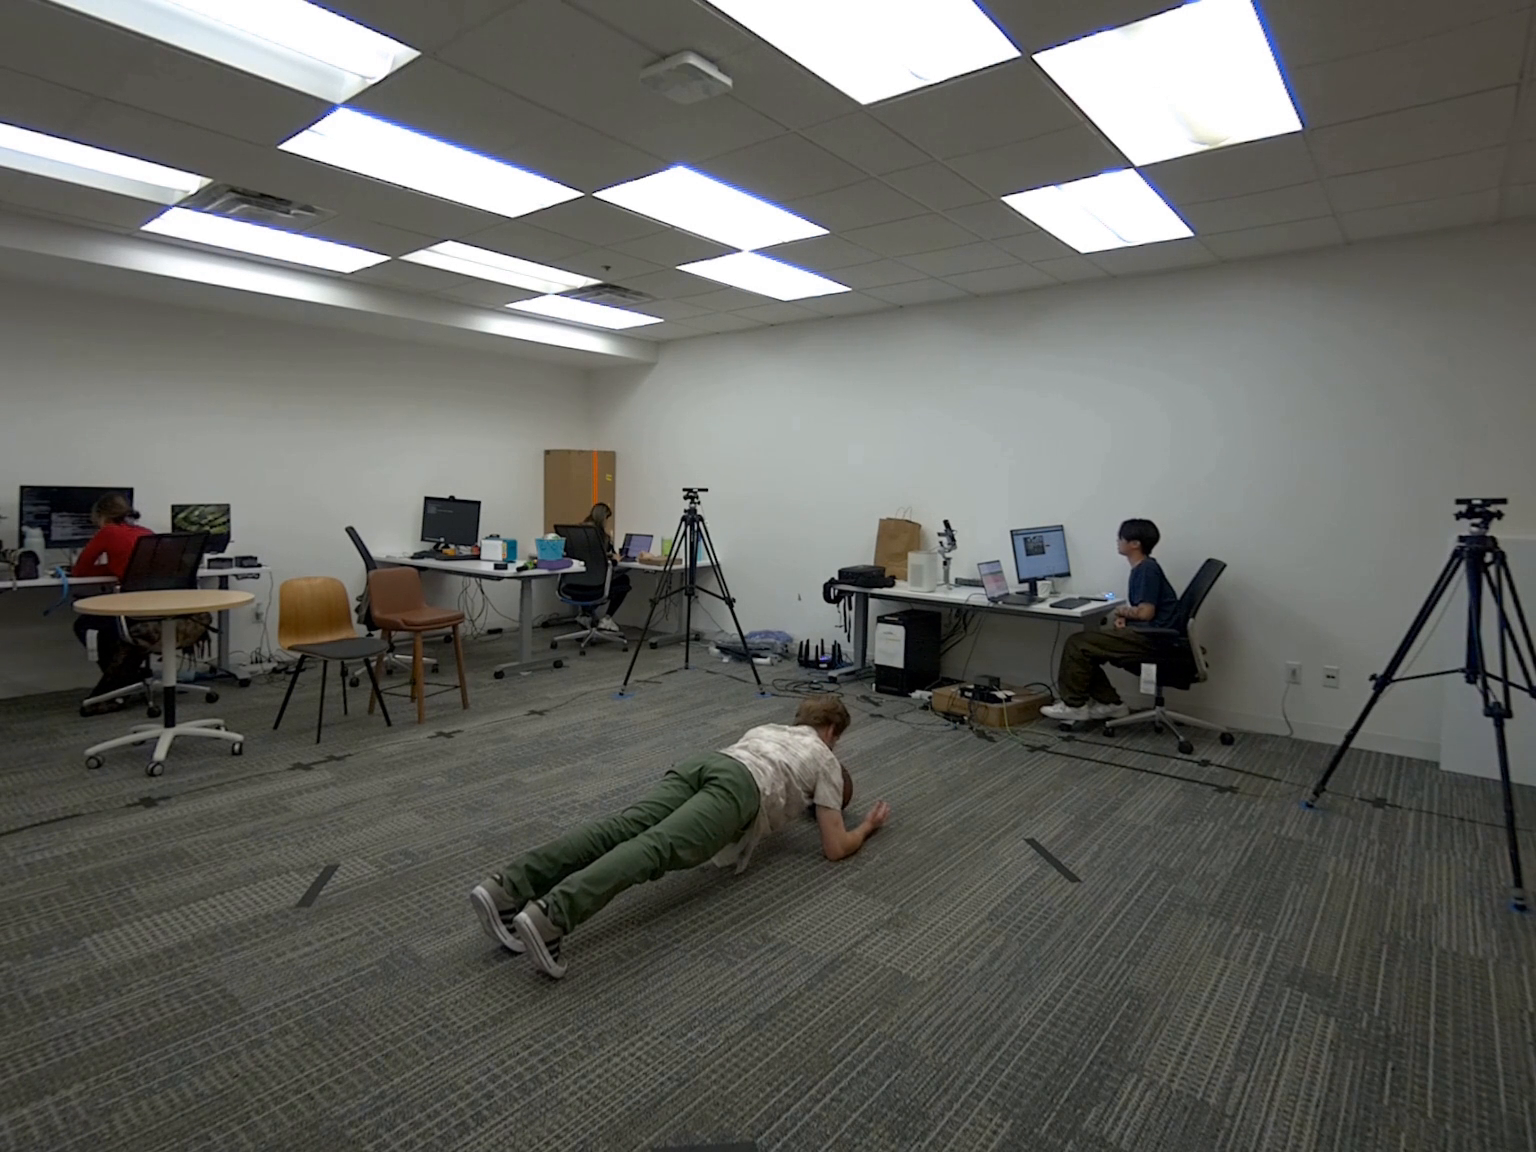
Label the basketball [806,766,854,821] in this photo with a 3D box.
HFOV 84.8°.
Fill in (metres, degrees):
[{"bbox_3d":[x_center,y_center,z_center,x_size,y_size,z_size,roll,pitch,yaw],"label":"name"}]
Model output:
[{"bbox_3d":[0.240,0.904,3.651,0.235,0.235,0.237,1,4,-2],"label":"basketball"}]
